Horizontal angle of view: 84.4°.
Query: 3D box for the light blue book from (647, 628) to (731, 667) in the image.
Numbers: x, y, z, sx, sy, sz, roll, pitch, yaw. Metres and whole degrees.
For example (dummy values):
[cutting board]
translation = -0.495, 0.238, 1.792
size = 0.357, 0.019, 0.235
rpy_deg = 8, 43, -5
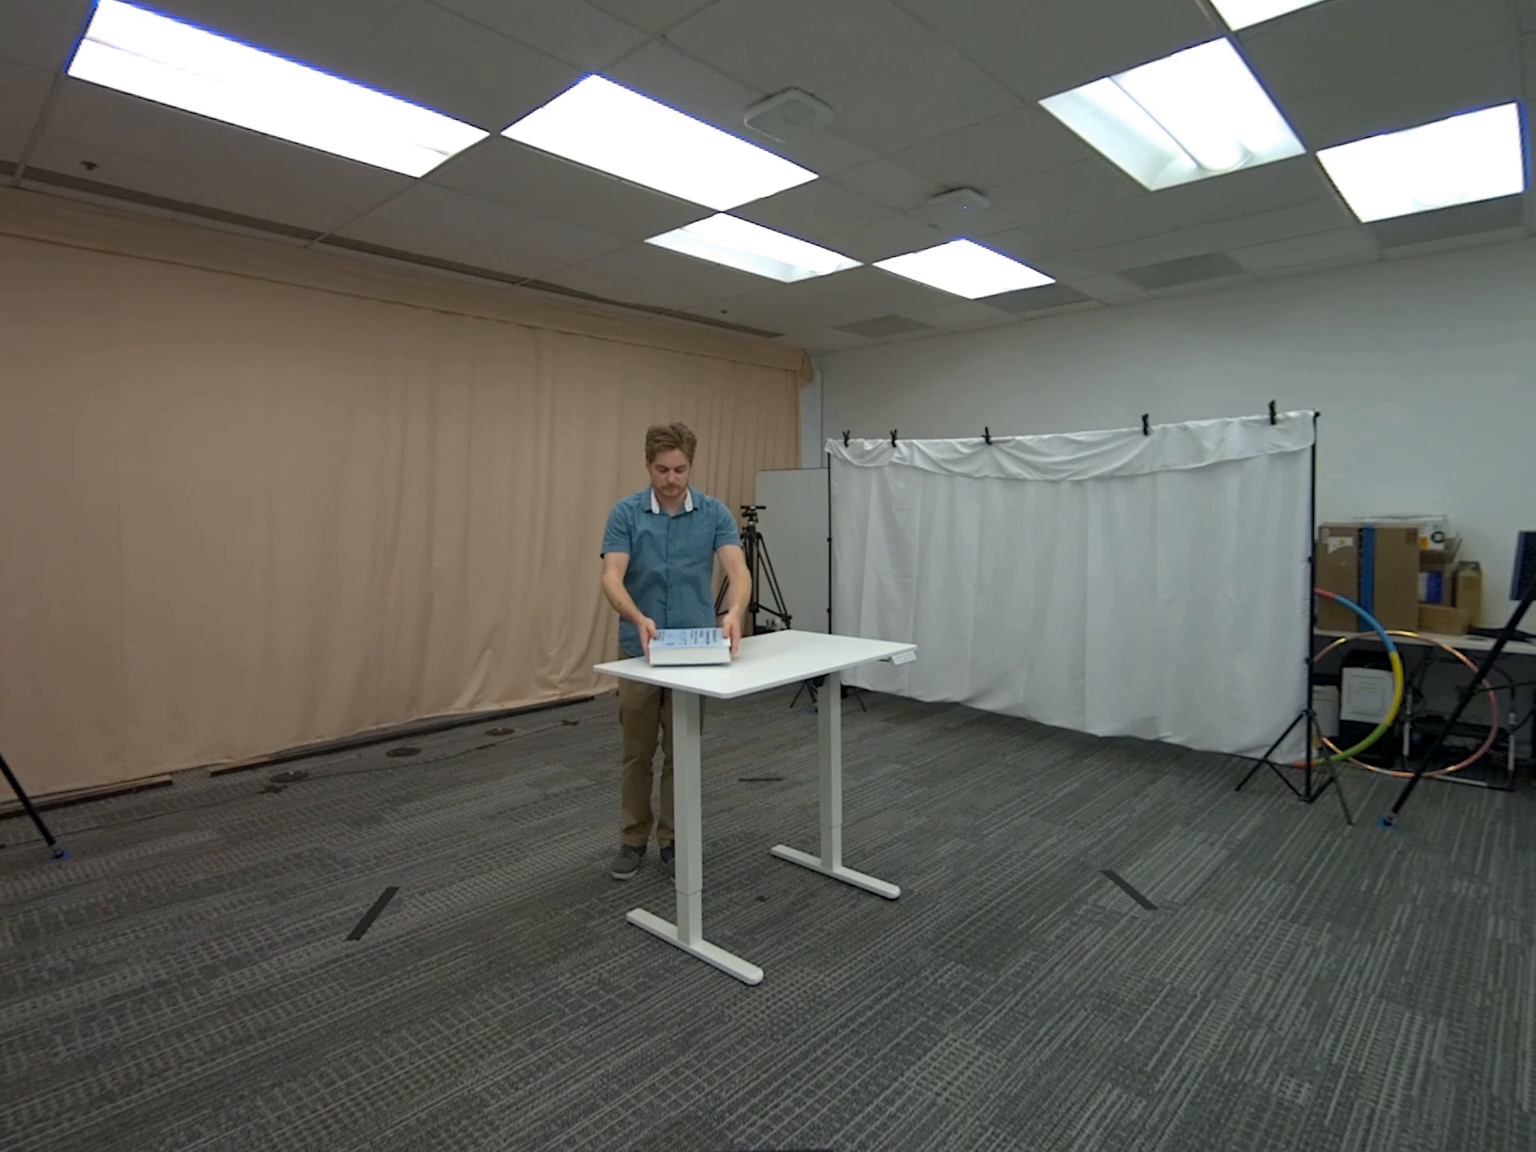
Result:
[light blue book]
translation = -0.255, 0.228, 2.762
size = 0.261, 0.058, 0.193
rpy_deg = -2, 13, -2
